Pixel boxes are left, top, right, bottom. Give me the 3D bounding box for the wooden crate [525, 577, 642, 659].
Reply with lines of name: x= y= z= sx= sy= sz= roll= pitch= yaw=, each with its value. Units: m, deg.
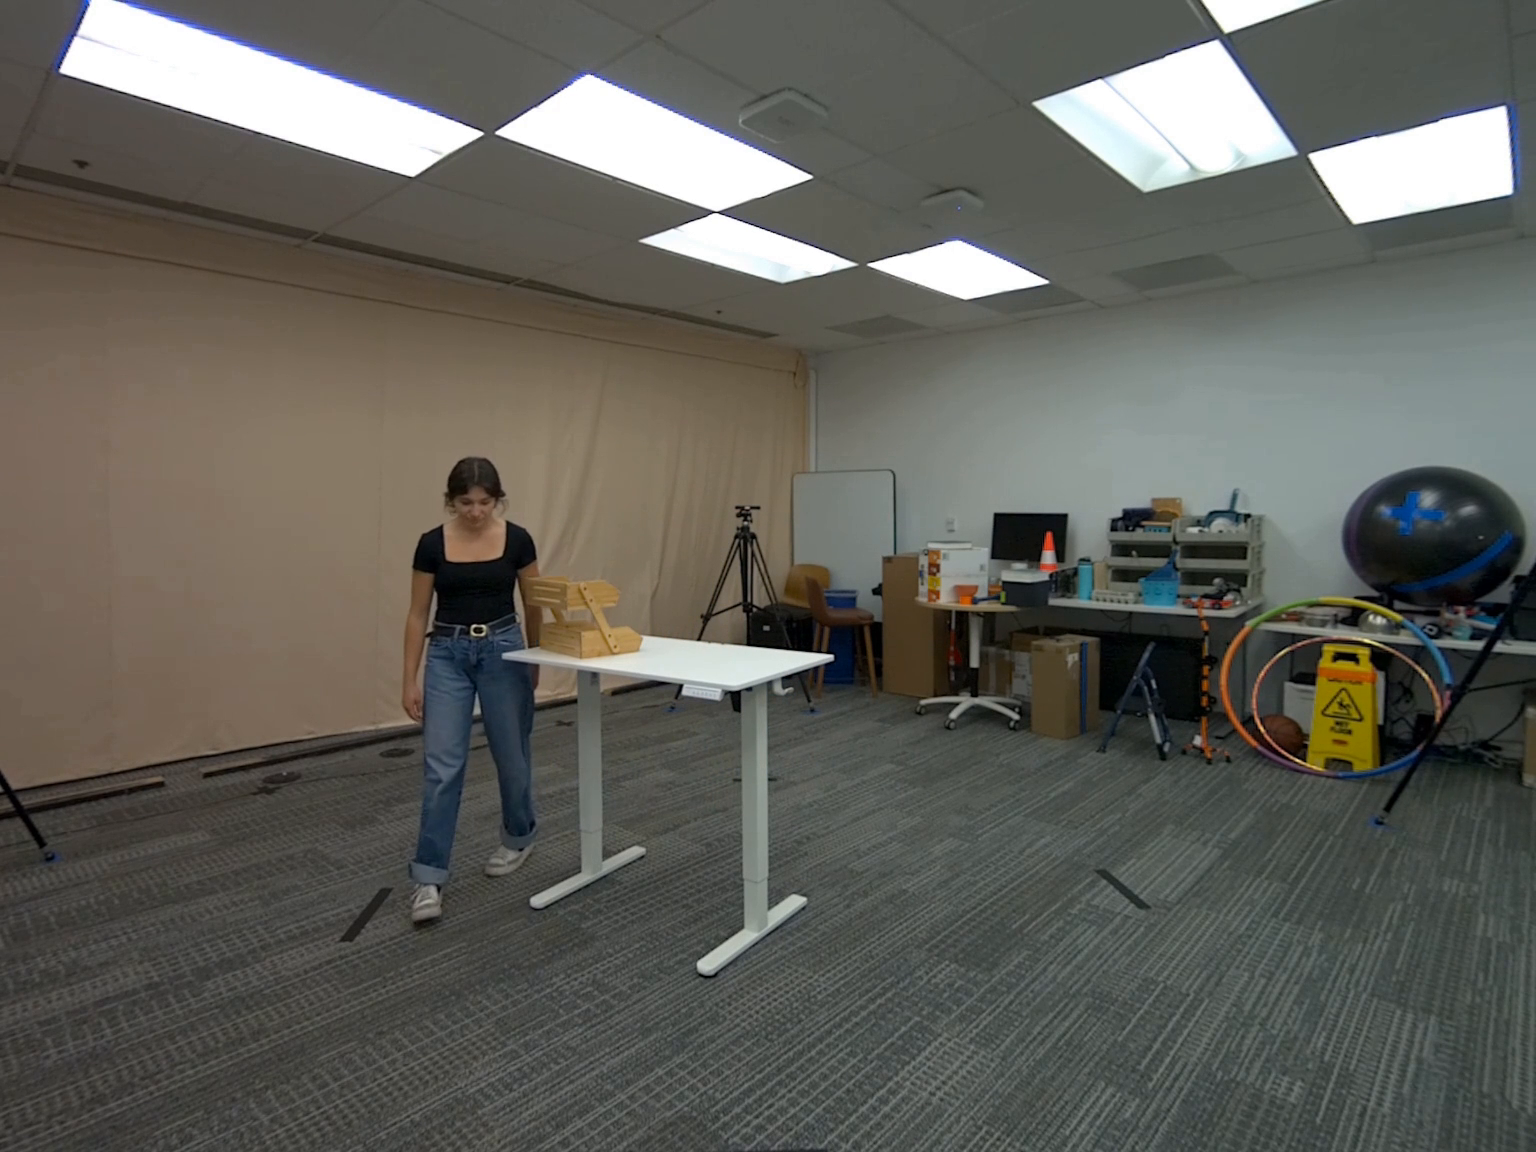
wooden crate: x=-0.653 y=0.136 z=2.999 sx=0.293 sy=0.273 sz=0.335 roll=-4 pitch=5 yaw=-39
